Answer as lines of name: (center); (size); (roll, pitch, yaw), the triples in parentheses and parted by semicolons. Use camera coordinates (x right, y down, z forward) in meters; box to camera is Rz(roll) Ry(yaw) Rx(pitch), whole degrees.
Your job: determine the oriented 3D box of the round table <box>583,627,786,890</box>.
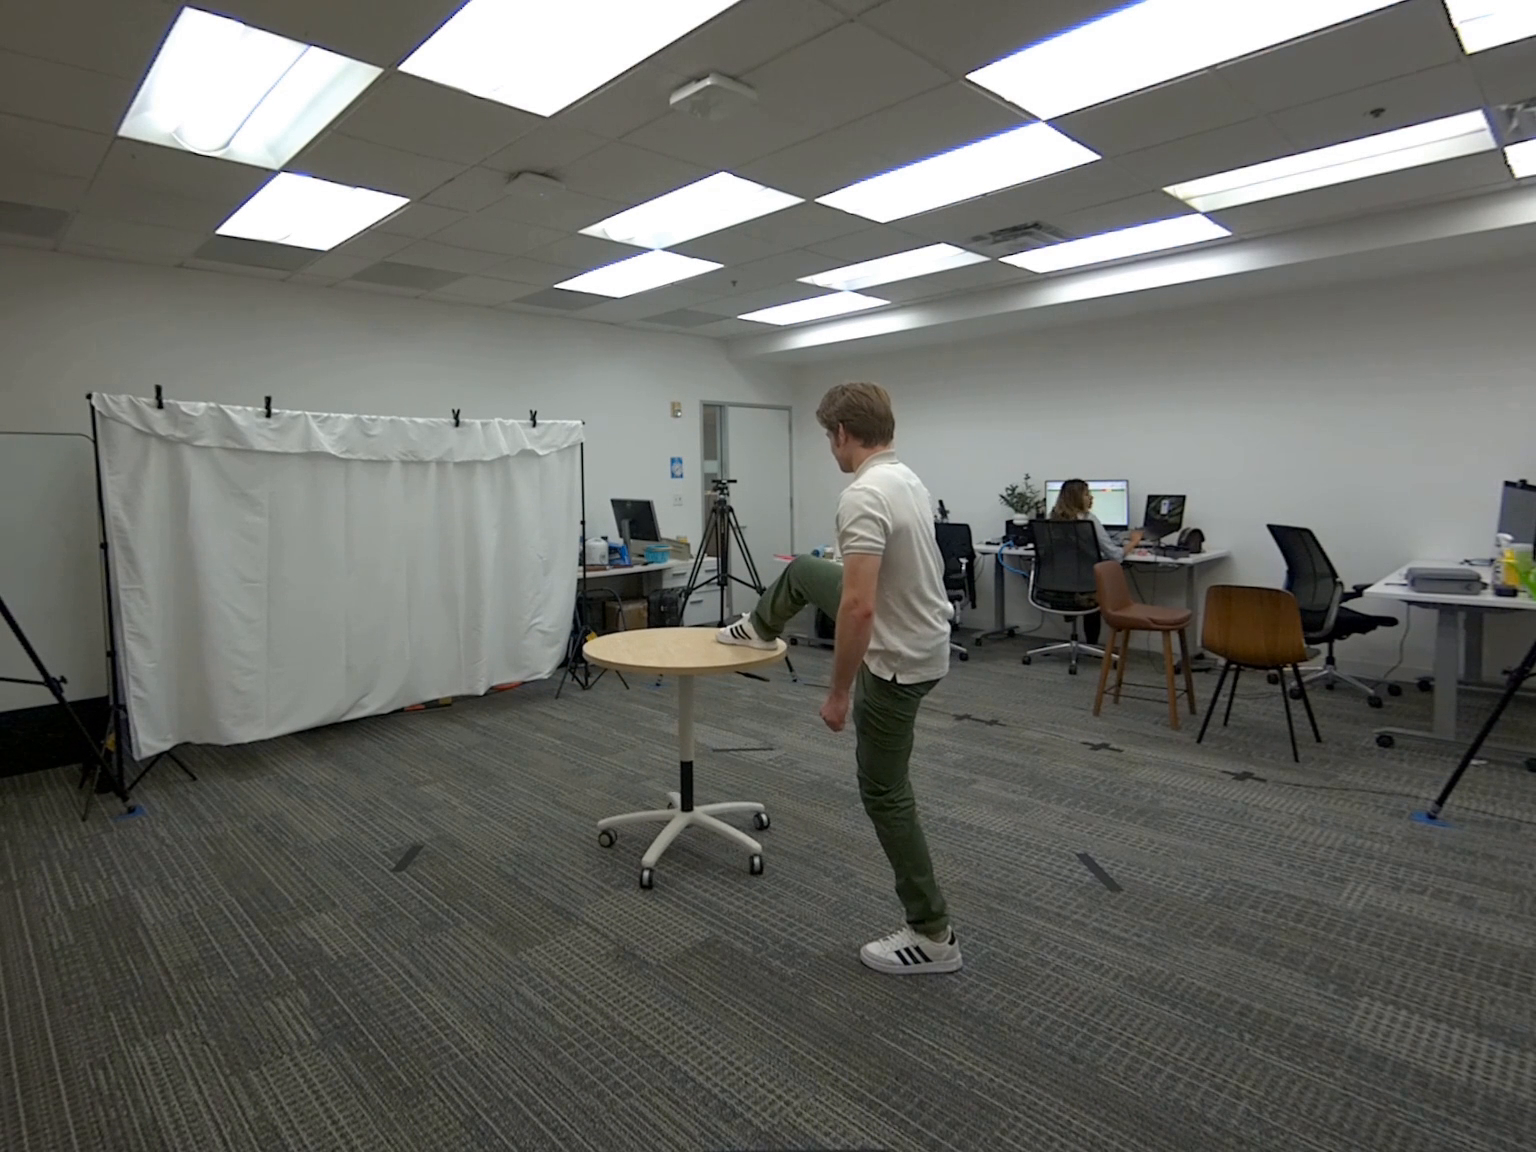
round table: (-0.308, 0.651, 3.250); (0.763, 0.791, 0.768); (-1, 5, -2)
